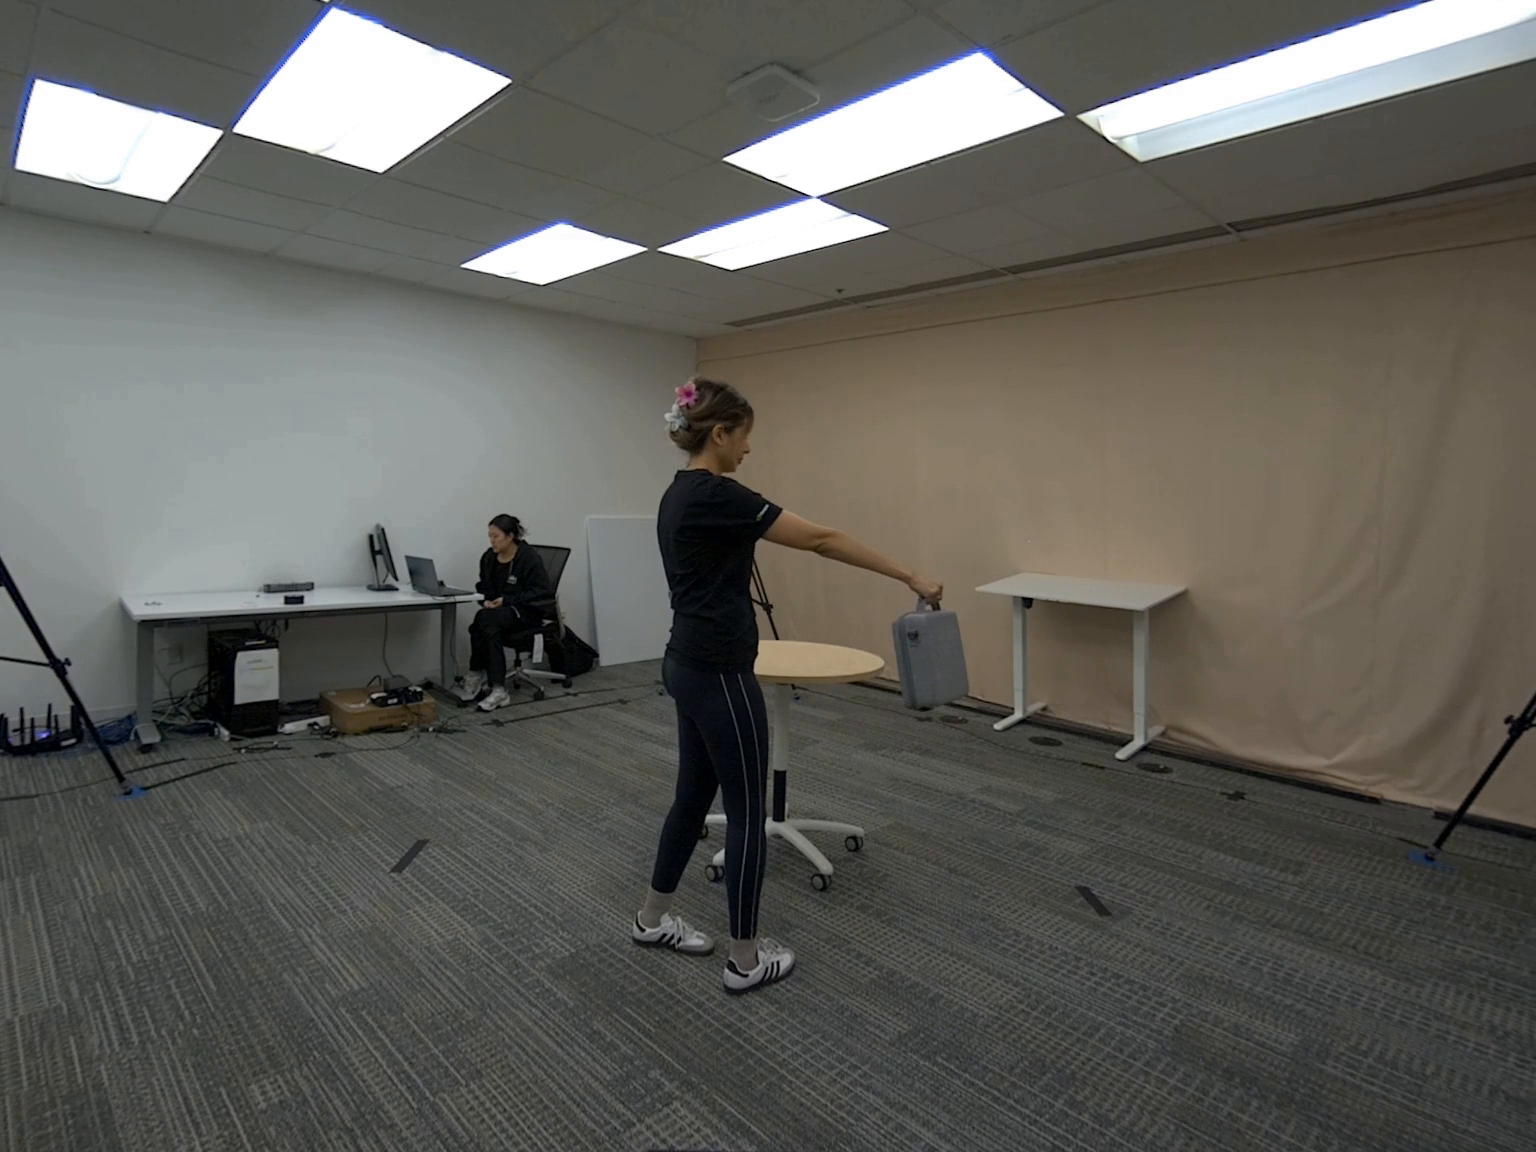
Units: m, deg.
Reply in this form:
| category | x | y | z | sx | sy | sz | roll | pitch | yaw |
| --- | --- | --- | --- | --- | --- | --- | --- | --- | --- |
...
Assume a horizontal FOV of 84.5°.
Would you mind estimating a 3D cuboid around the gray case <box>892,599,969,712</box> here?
| category | x | y | z | sx | sy | sz | roll | pitch | yaw |
| --- | --- | --- | --- | --- | --- | --- | --- | --- | --- |
| gray case | 0.438 | 0.218 | 2.307 | 0.106 | 0.261 | 0.251 | -11 | -5 | 36 |
